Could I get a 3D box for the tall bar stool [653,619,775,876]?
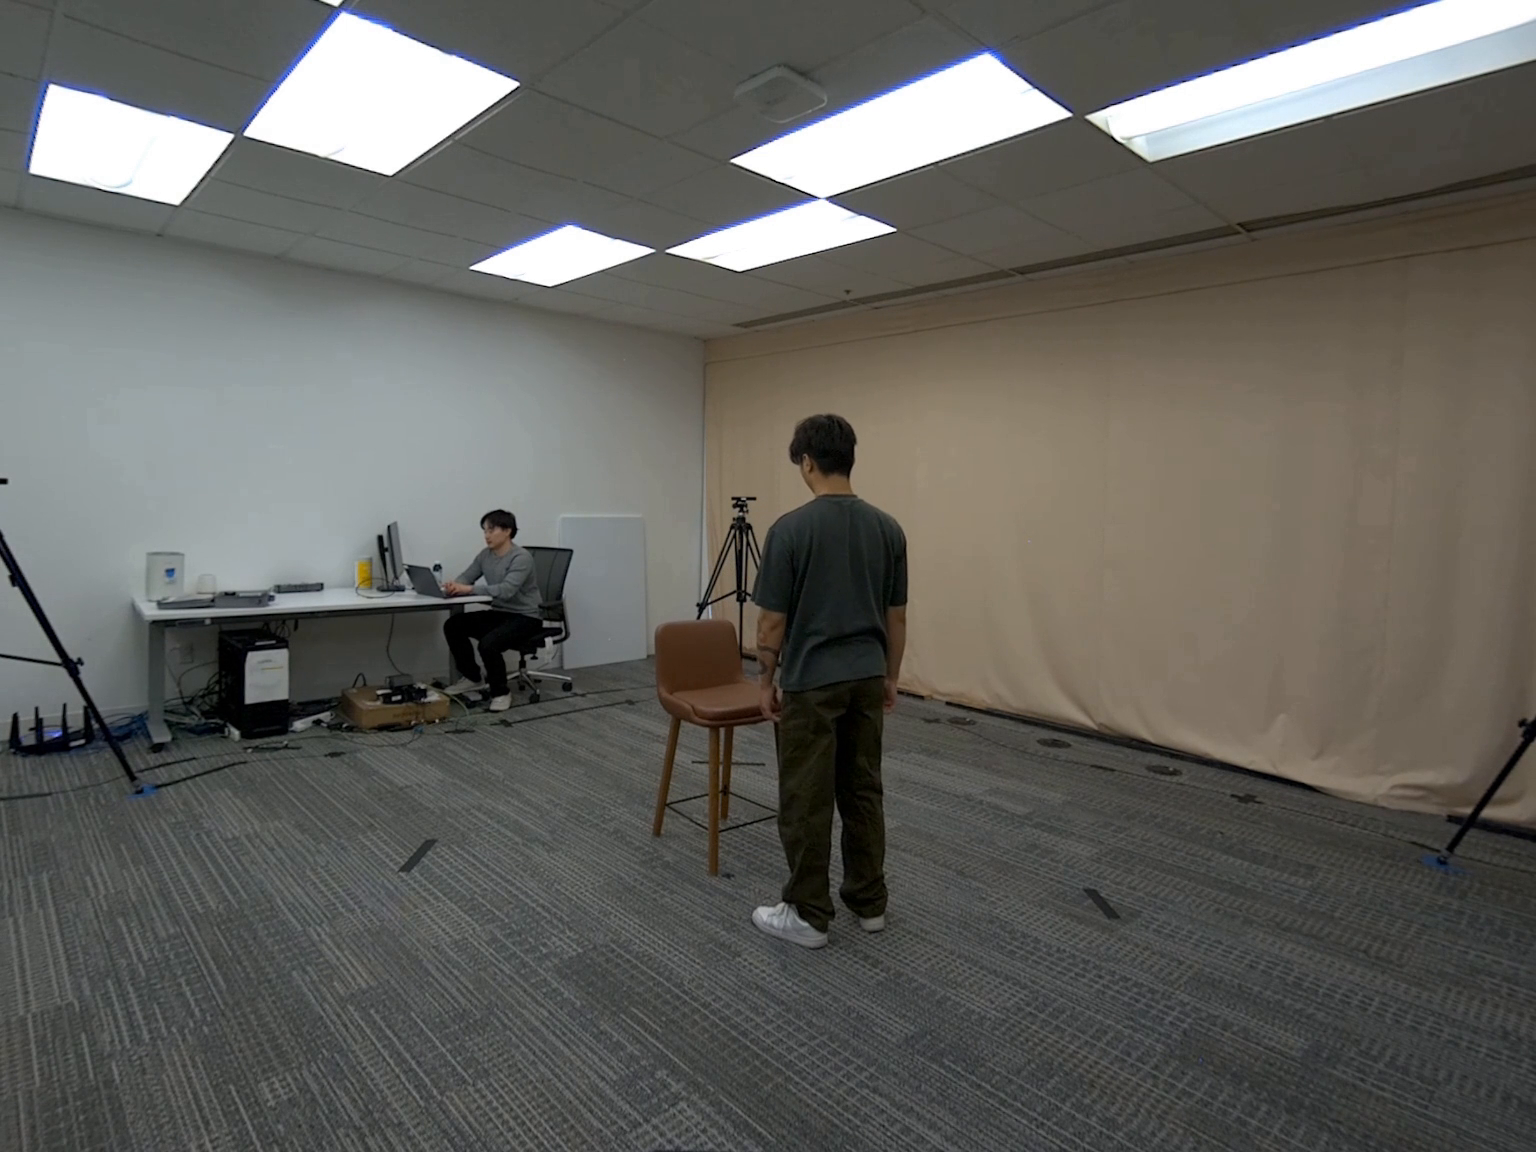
[{"bbox_3d":[-0.191,0.647,3.376,0.446,0.889,0.479,-1,2,-38],"label":"tall bar stool"}]
